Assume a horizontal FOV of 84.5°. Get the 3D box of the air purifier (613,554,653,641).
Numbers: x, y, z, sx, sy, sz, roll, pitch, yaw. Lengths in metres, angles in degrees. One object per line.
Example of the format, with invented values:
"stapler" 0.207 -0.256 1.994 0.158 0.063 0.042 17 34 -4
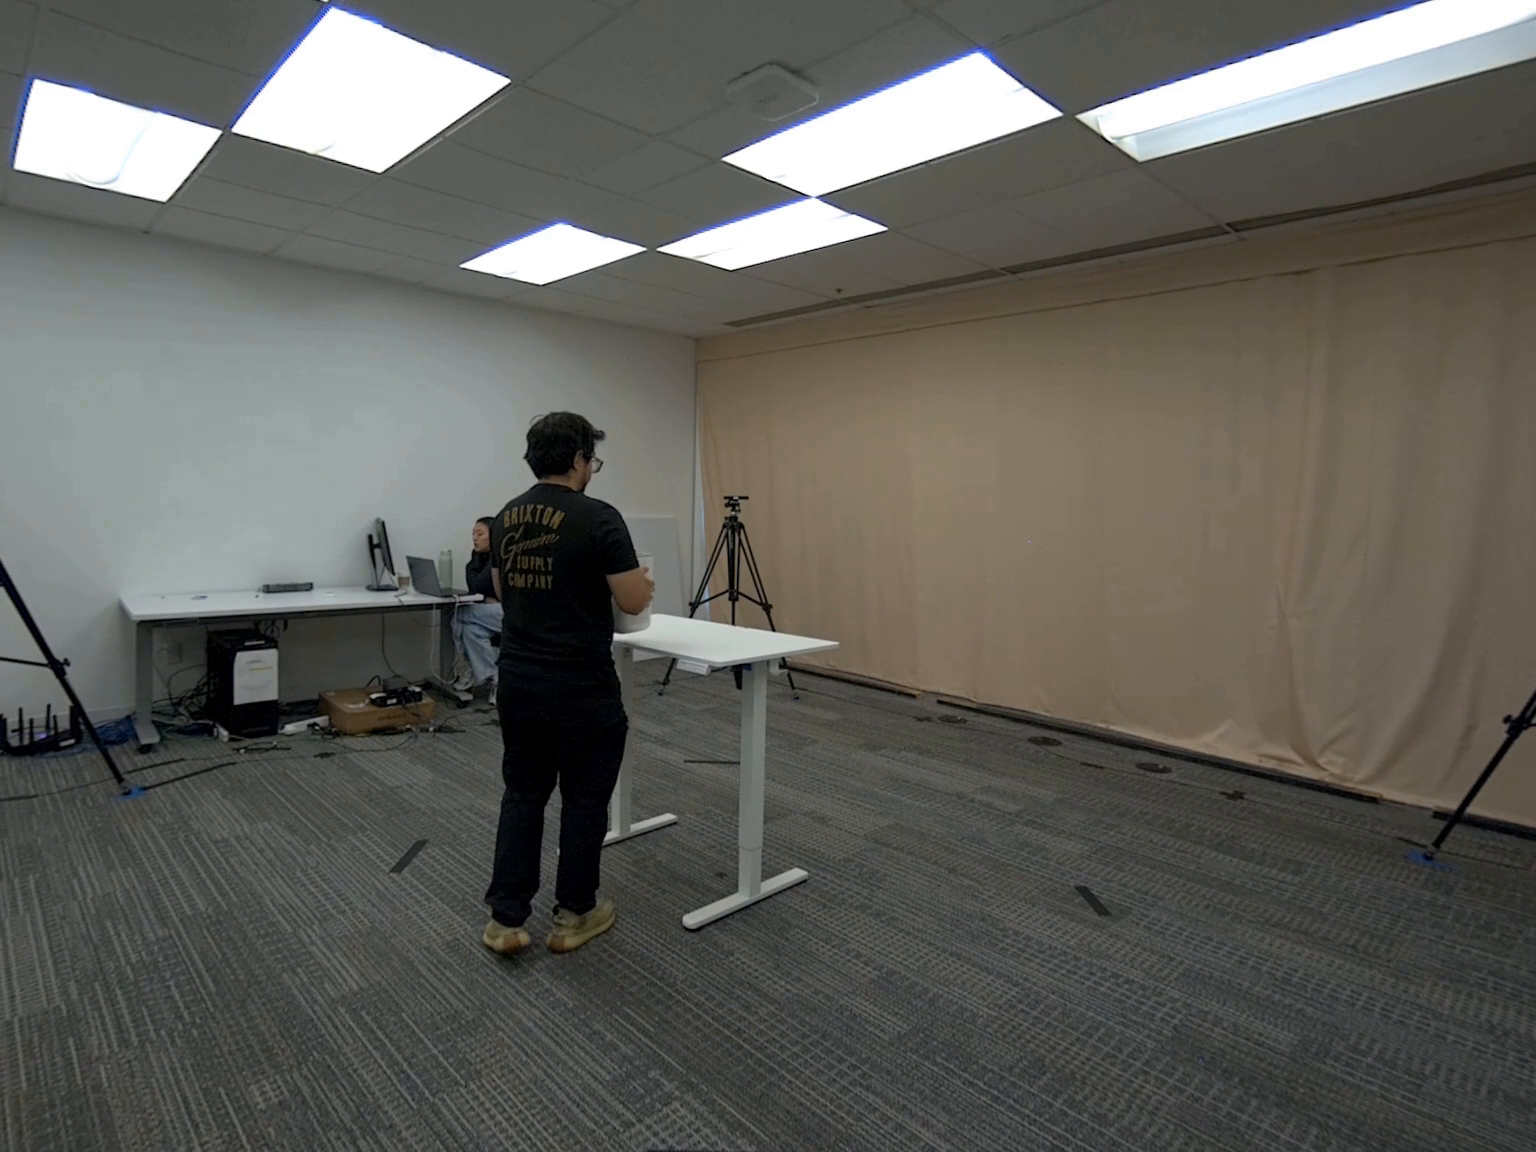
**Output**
"air purifier" -0.518 0.060 2.869 0.175 0.264 0.168 6 6 32
